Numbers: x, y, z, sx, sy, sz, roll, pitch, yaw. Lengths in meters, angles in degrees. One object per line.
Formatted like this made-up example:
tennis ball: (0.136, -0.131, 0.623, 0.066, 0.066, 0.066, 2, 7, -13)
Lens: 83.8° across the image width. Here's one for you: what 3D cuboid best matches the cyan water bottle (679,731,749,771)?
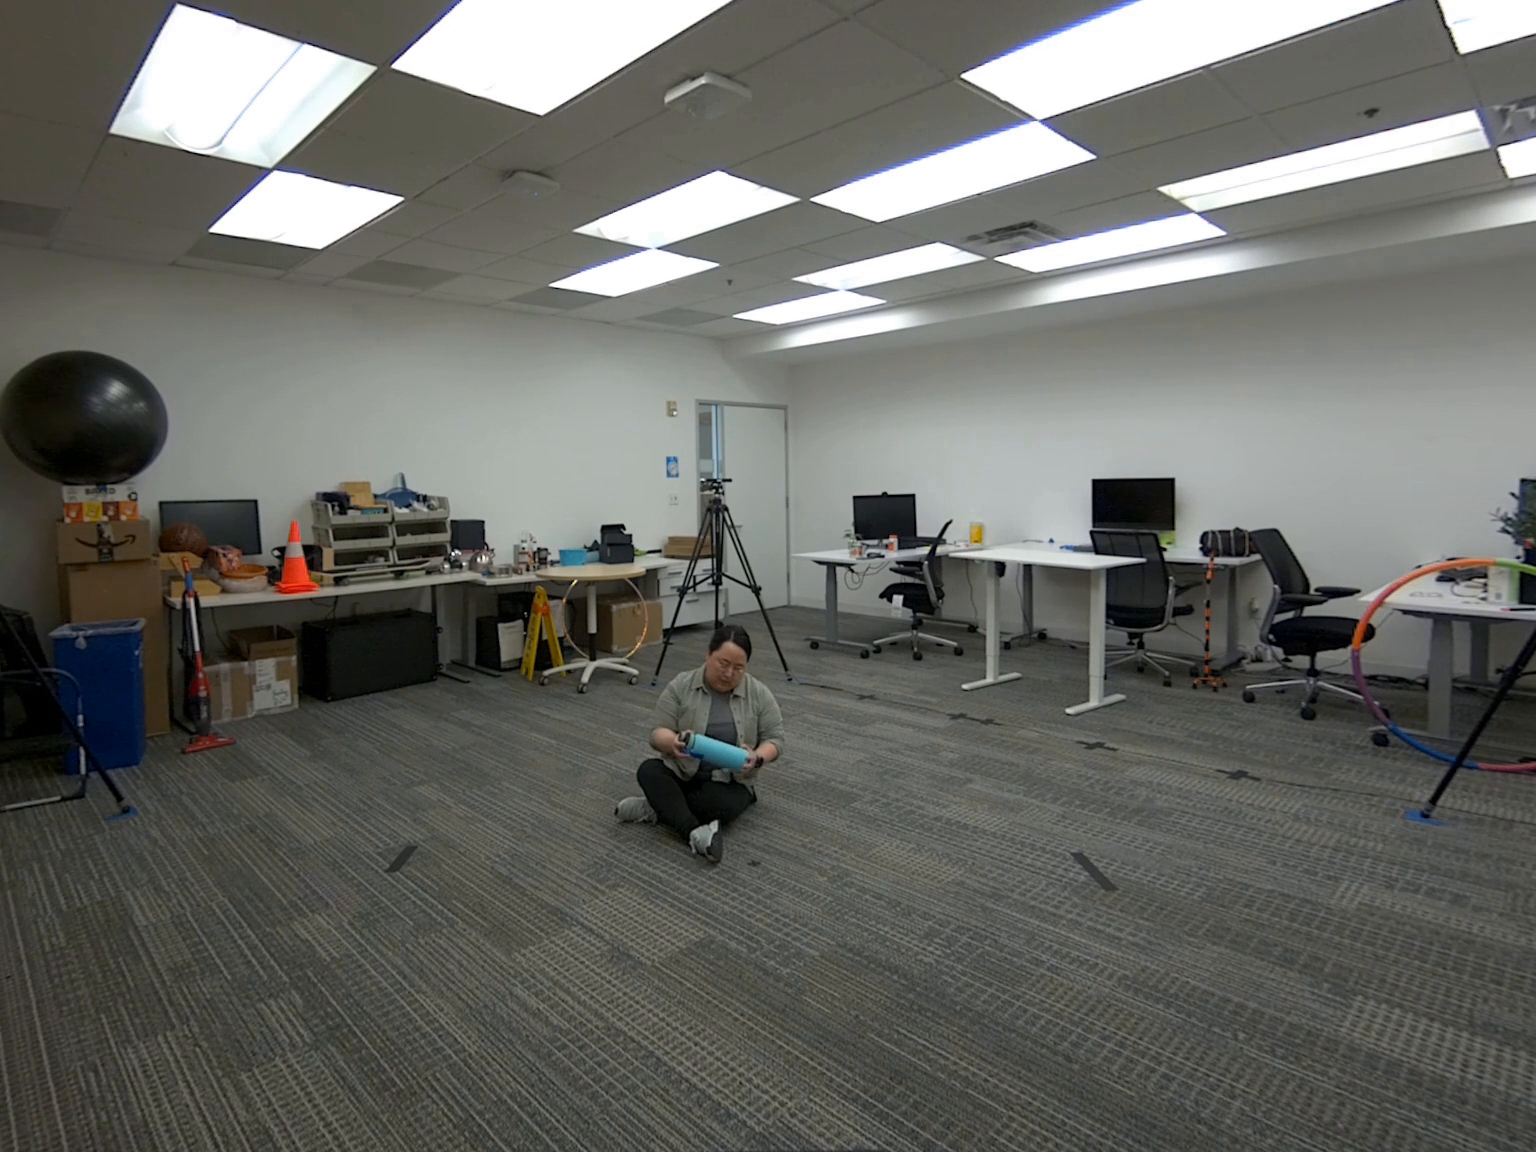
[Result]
cyan water bottle: (-0.237, 0.700, 3.365, 0.281, 0.092, 0.093, 20, 2, -7)
